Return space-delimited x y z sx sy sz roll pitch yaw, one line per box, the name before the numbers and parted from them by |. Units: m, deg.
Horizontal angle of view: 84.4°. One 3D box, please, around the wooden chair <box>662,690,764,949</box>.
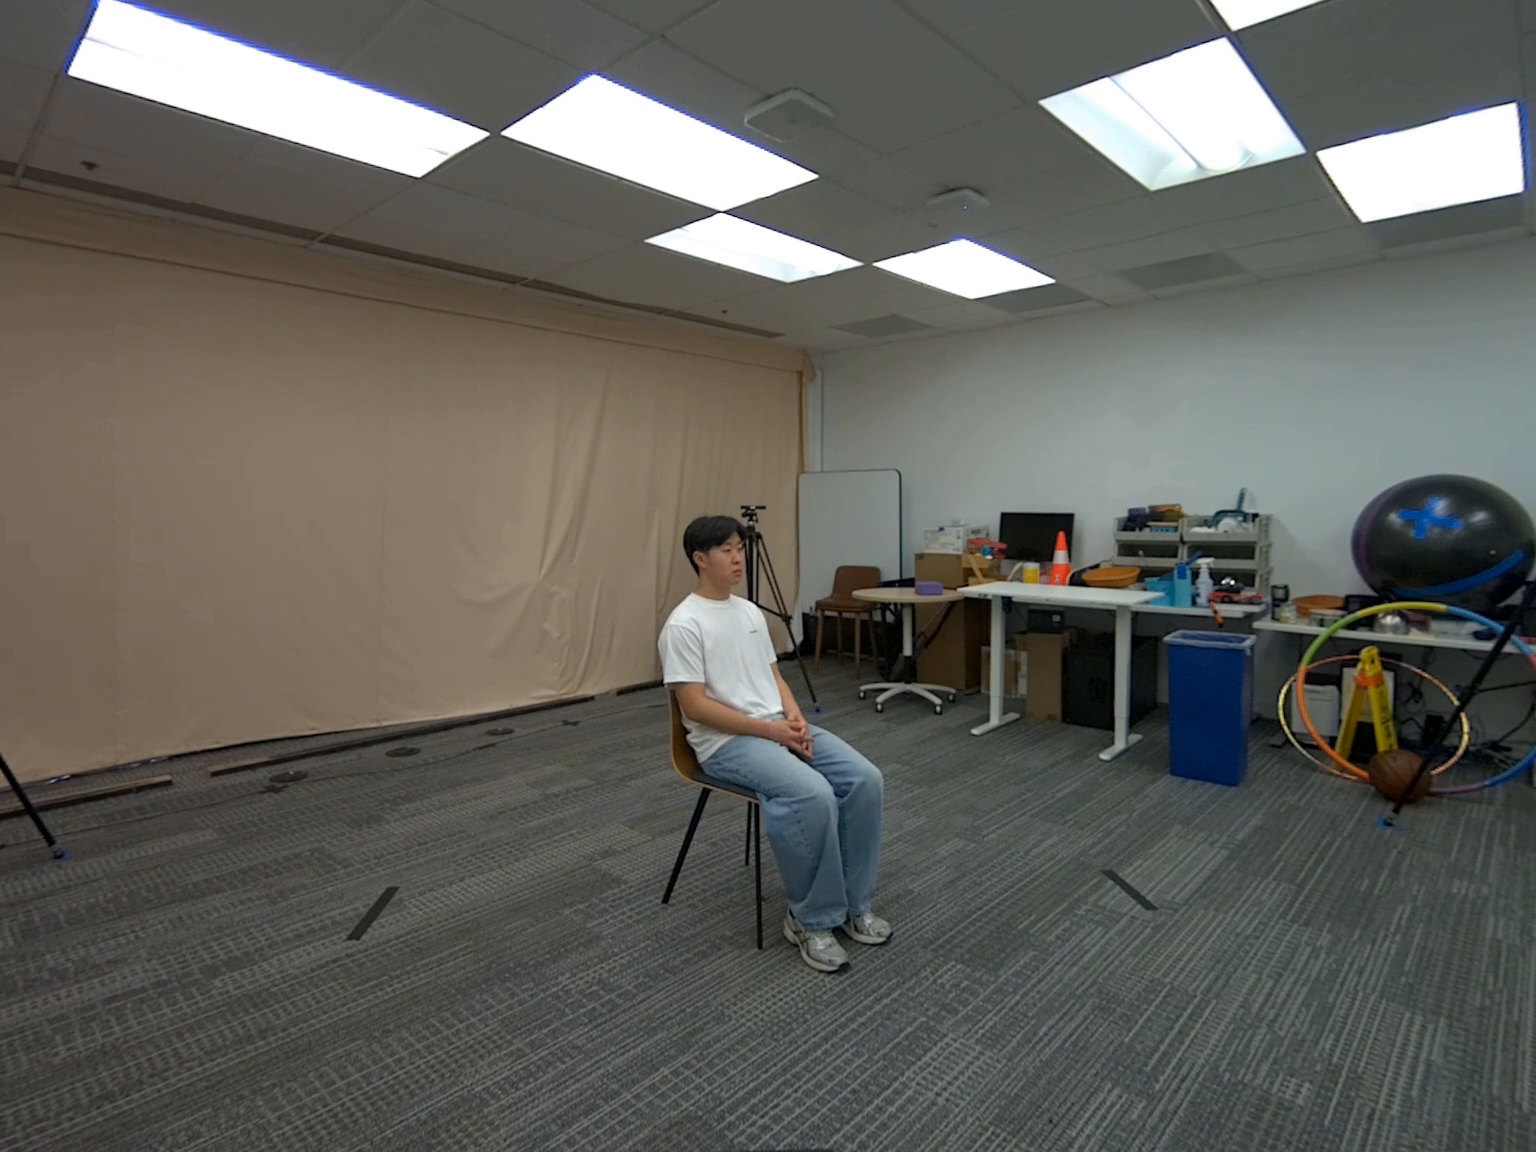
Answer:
wooden chair | -0.054 0.722 2.930 0.539 0.877 0.464 -4 1 42
